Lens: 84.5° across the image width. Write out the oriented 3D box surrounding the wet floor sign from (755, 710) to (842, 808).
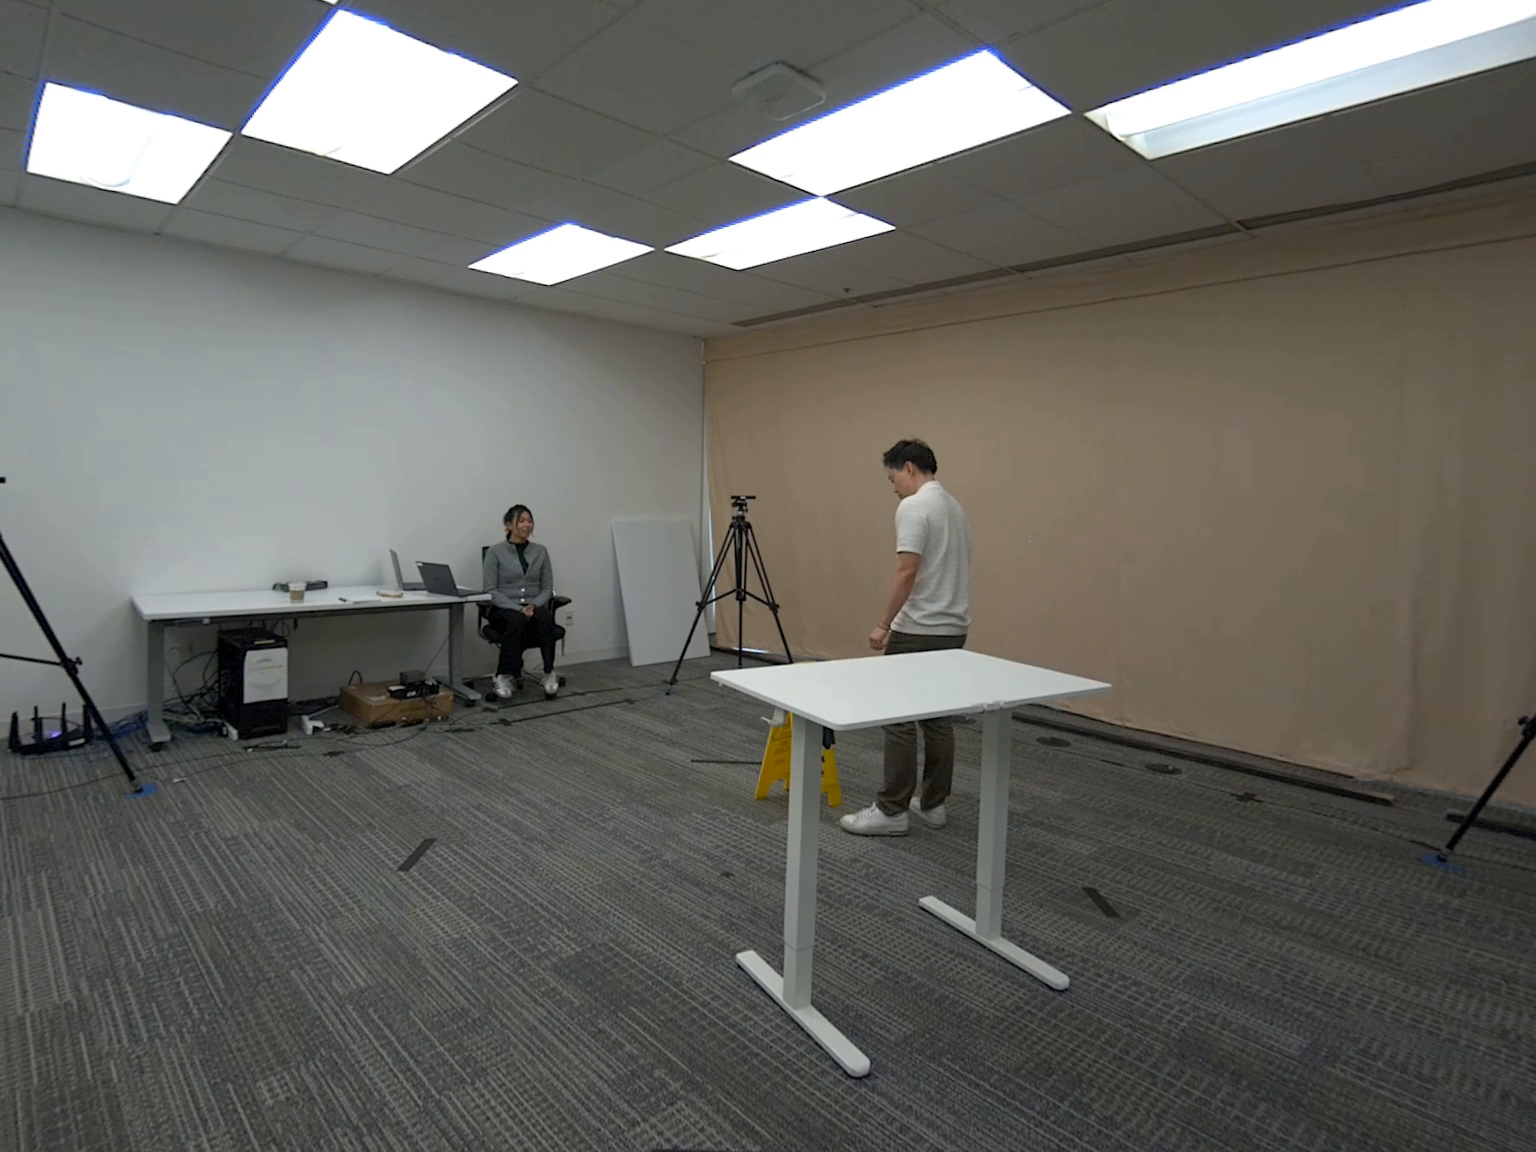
[{"bbox_3d":[0.143,0.719,3.862,0.276,0.645,0.297,-1,4,-44],"label":"wet floor sign"}]
